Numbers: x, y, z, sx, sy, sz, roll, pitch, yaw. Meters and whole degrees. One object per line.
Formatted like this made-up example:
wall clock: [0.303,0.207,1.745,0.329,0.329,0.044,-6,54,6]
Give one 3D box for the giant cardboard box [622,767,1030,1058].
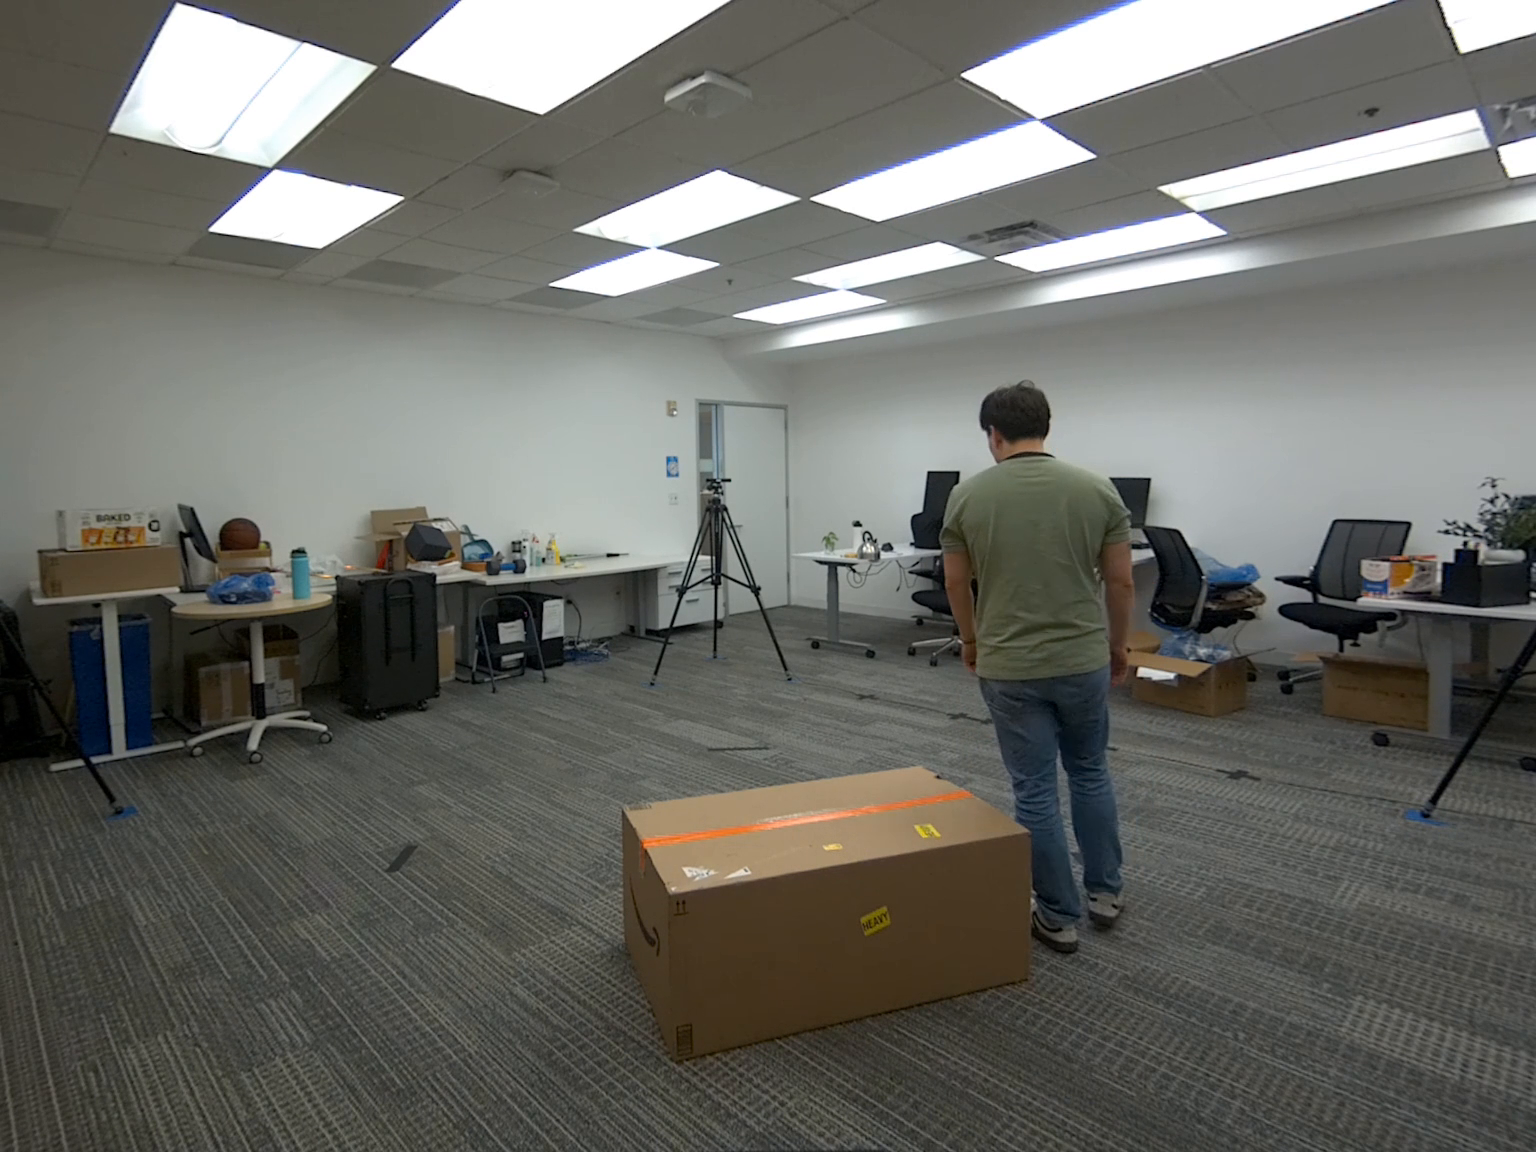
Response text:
giant cardboard box: [0.143,0.898,2.464,1.009,0.424,0.590,-3,7,-19]
